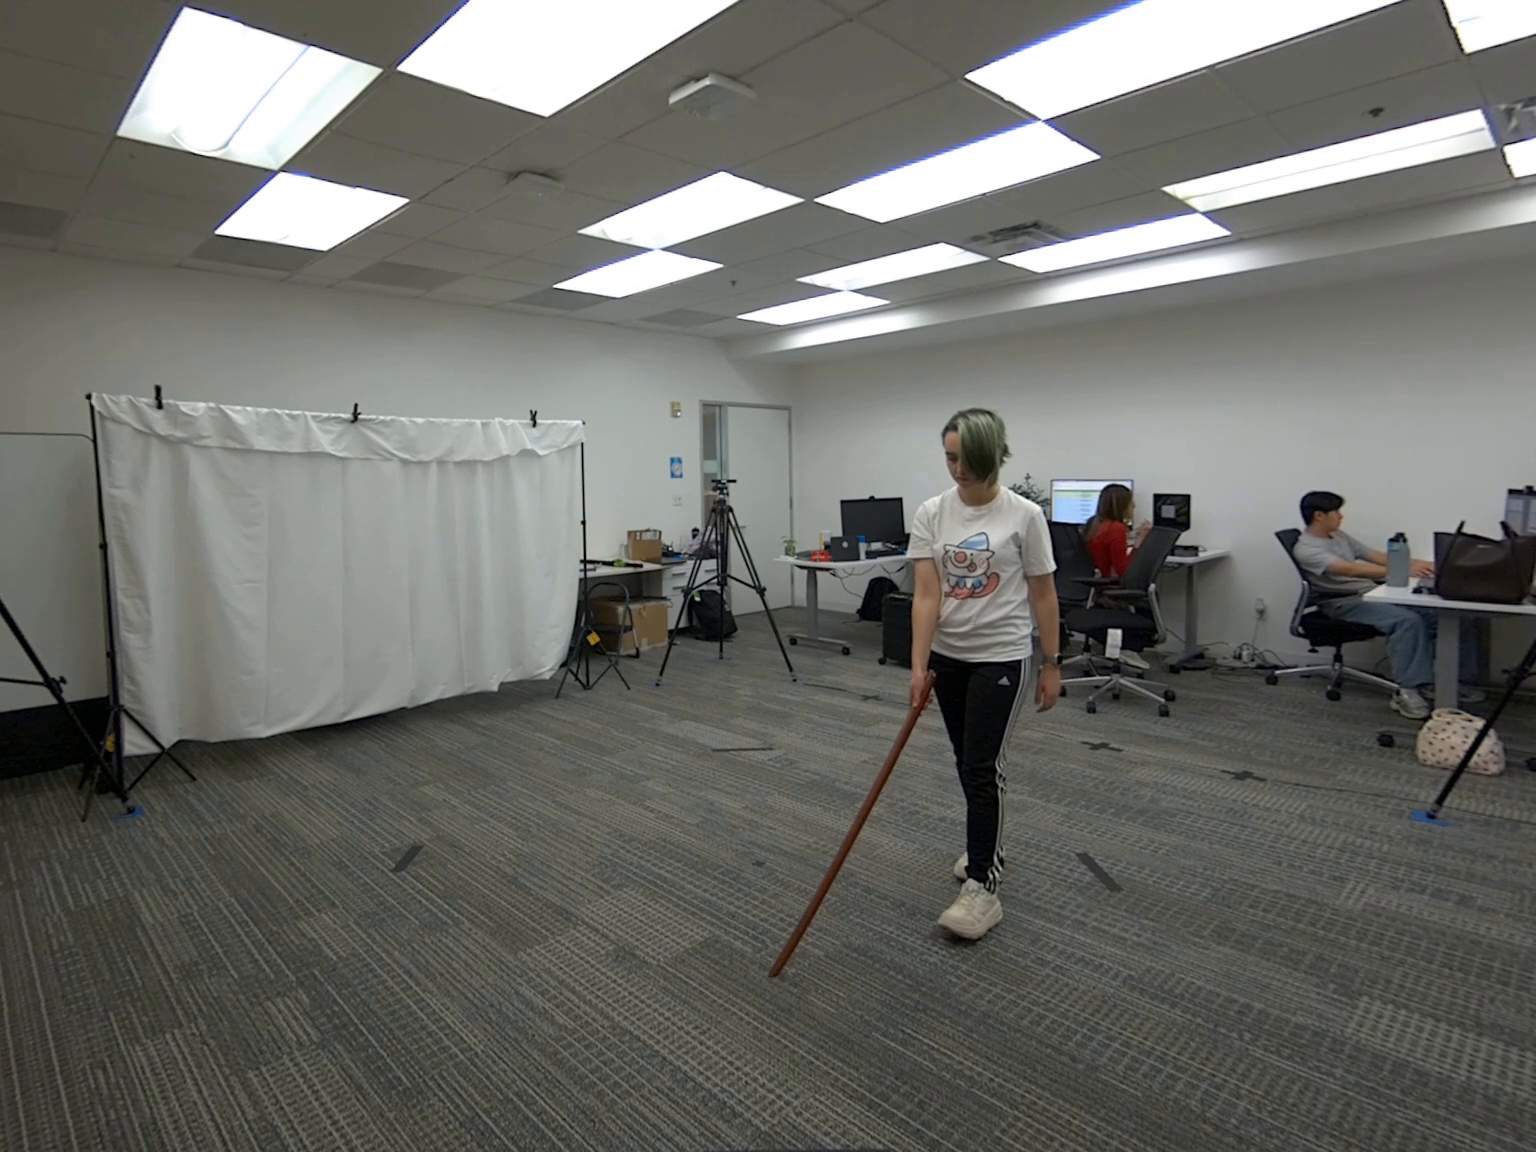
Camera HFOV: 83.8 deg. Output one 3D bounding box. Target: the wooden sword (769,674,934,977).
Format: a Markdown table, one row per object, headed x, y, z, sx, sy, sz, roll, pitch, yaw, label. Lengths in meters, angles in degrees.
| x | y | z | sx | sy | sz | roll | pitch | yaw | label |
| --- | --- | --- | --- | --- | --- | --- | --- | --- | --- |
| 0.288 | 0.739 | 2.569 | 0.052 | 1.028 | 0.023 | 28 | -21 | 16 | wooden sword |
